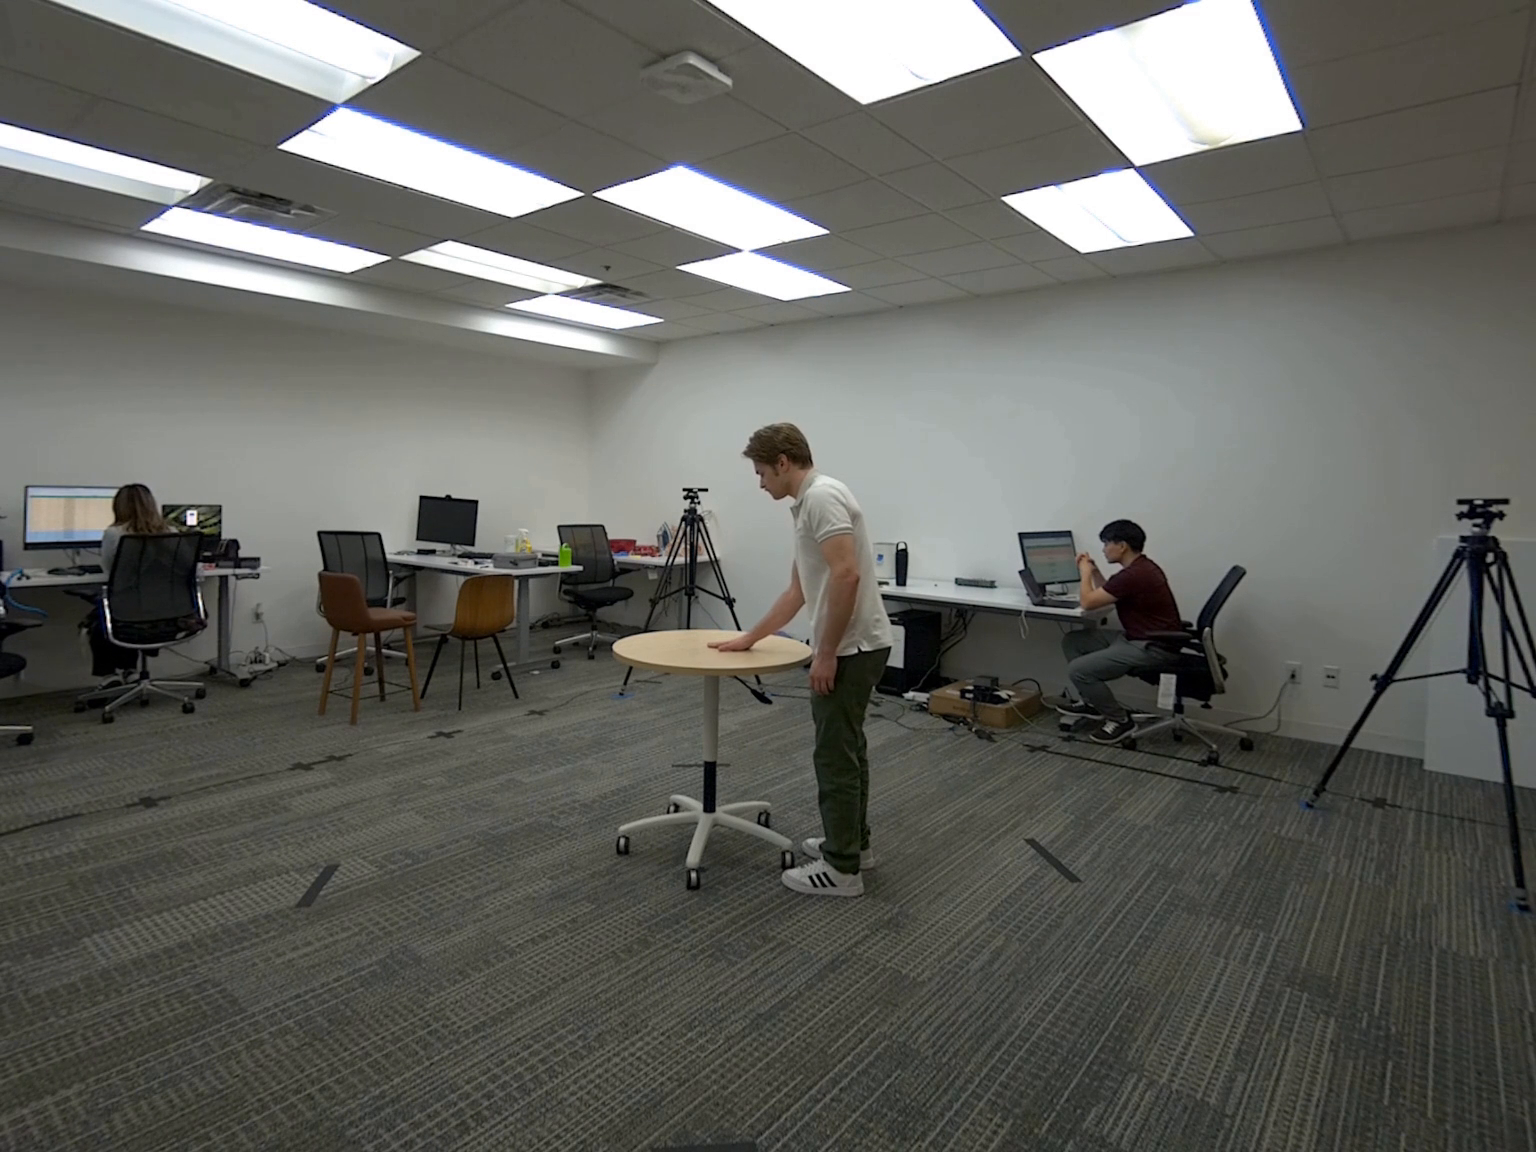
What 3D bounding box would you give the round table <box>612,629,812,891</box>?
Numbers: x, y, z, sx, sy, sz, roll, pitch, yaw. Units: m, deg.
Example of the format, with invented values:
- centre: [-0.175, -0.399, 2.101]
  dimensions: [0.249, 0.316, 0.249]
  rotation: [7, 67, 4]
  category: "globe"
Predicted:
- centre: [-0.240, 0.656, 3.304]
  dimensions: [0.784, 0.784, 0.789]
  rotation: [1, 4, -2]
  category: "round table"
